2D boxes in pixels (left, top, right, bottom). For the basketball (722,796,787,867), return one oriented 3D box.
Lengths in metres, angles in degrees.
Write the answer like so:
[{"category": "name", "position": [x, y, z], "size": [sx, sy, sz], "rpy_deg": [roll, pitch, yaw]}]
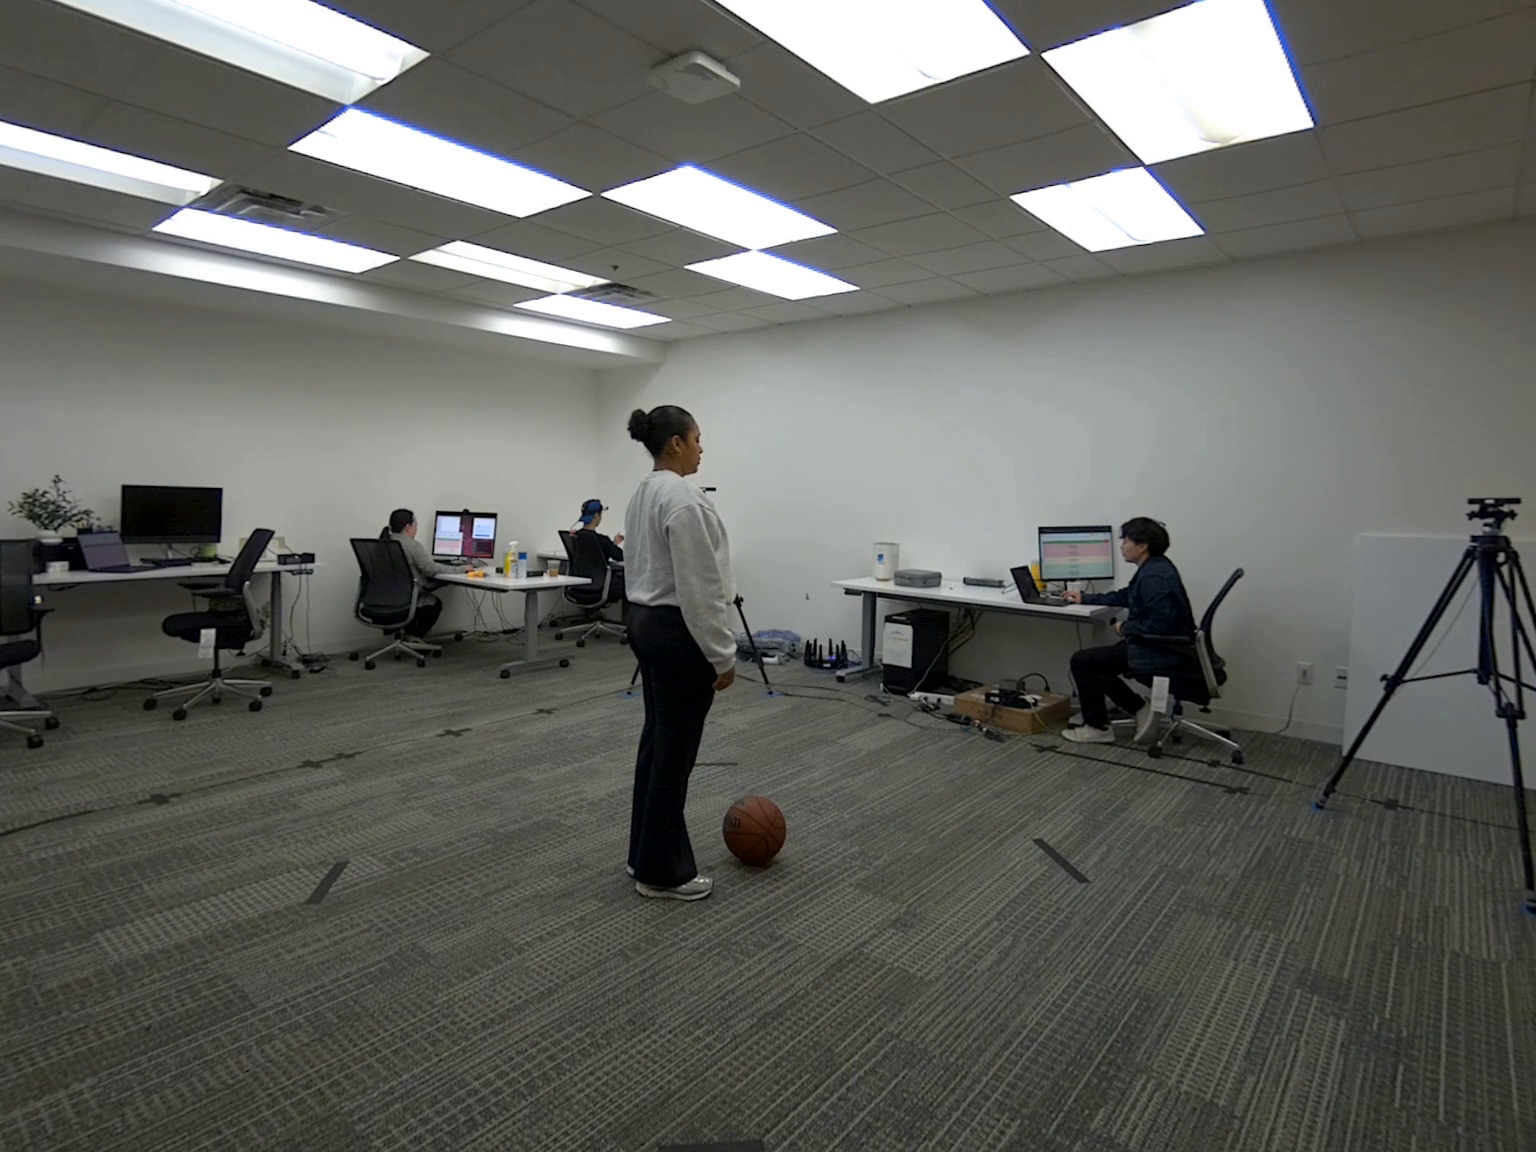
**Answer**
[{"category": "basketball", "position": [-0.063, 0.940, 3.174], "size": [0.235, 0.235, 0.237], "rpy_deg": [1, 4, -2]}]
